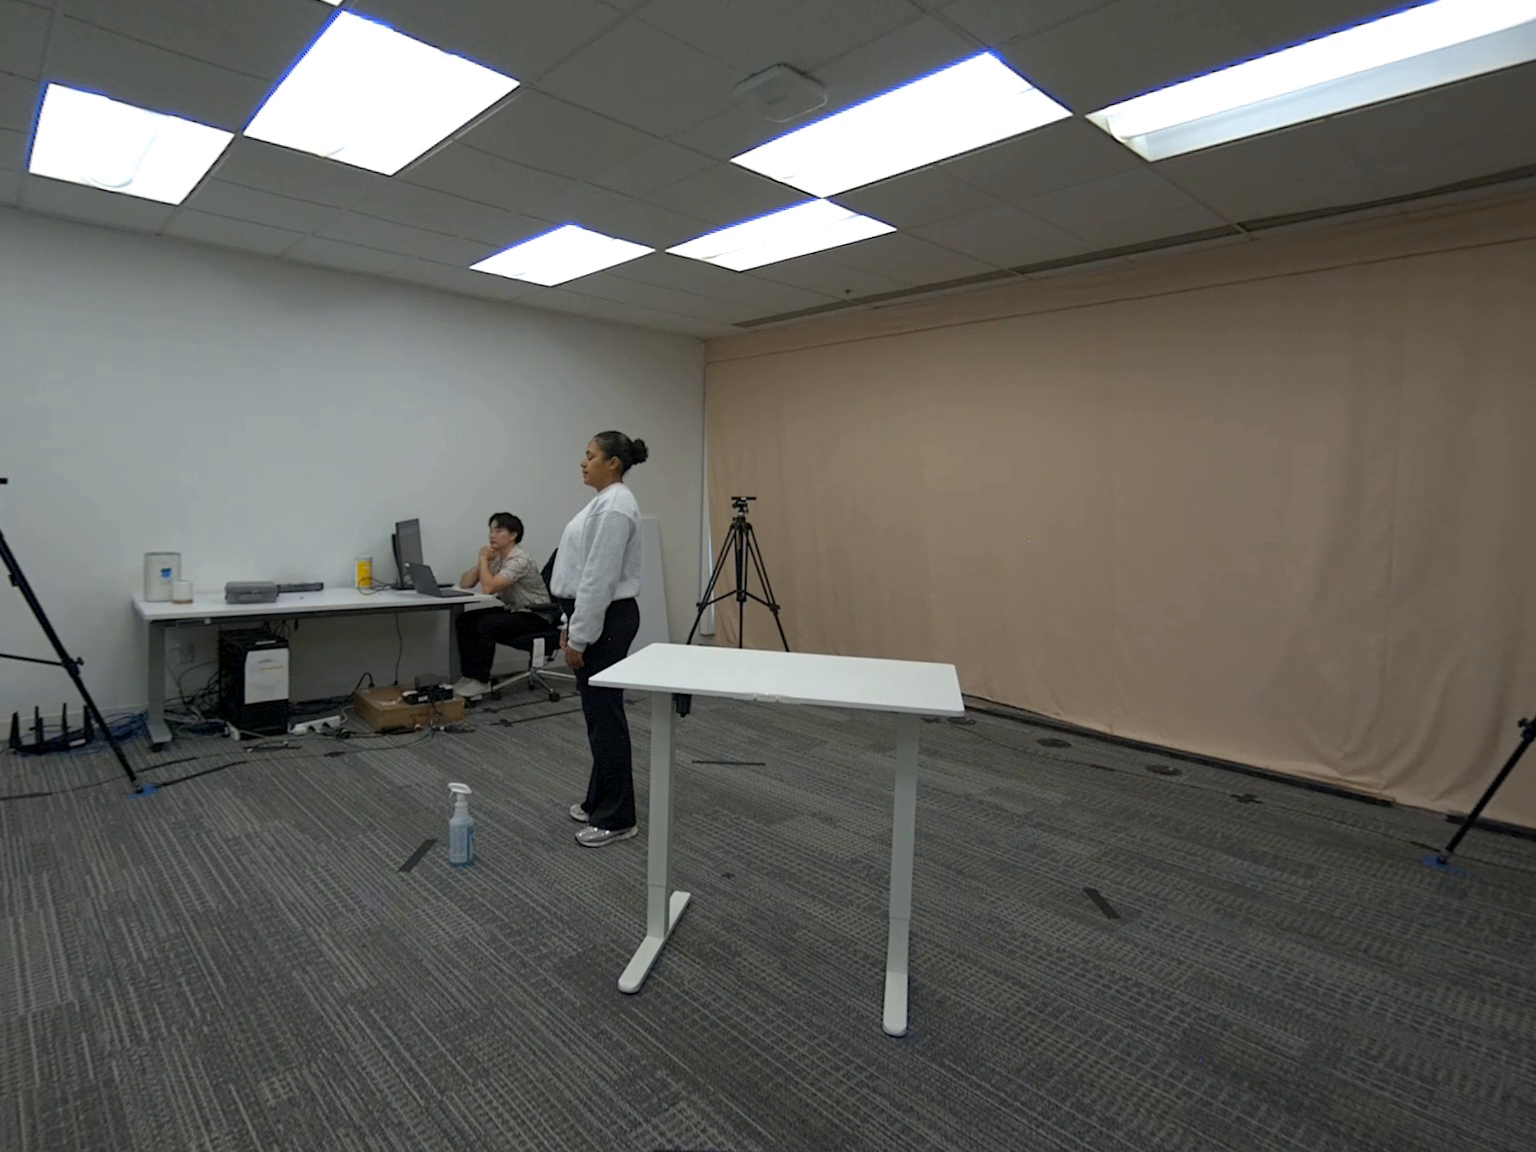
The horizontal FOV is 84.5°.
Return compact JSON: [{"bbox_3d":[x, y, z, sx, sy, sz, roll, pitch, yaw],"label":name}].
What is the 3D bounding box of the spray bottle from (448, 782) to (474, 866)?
[{"bbox_3d":[-1.164,0.936,3.165,0.092,0.297,0.085,2,3,33],"label":"spray bottle"}]
